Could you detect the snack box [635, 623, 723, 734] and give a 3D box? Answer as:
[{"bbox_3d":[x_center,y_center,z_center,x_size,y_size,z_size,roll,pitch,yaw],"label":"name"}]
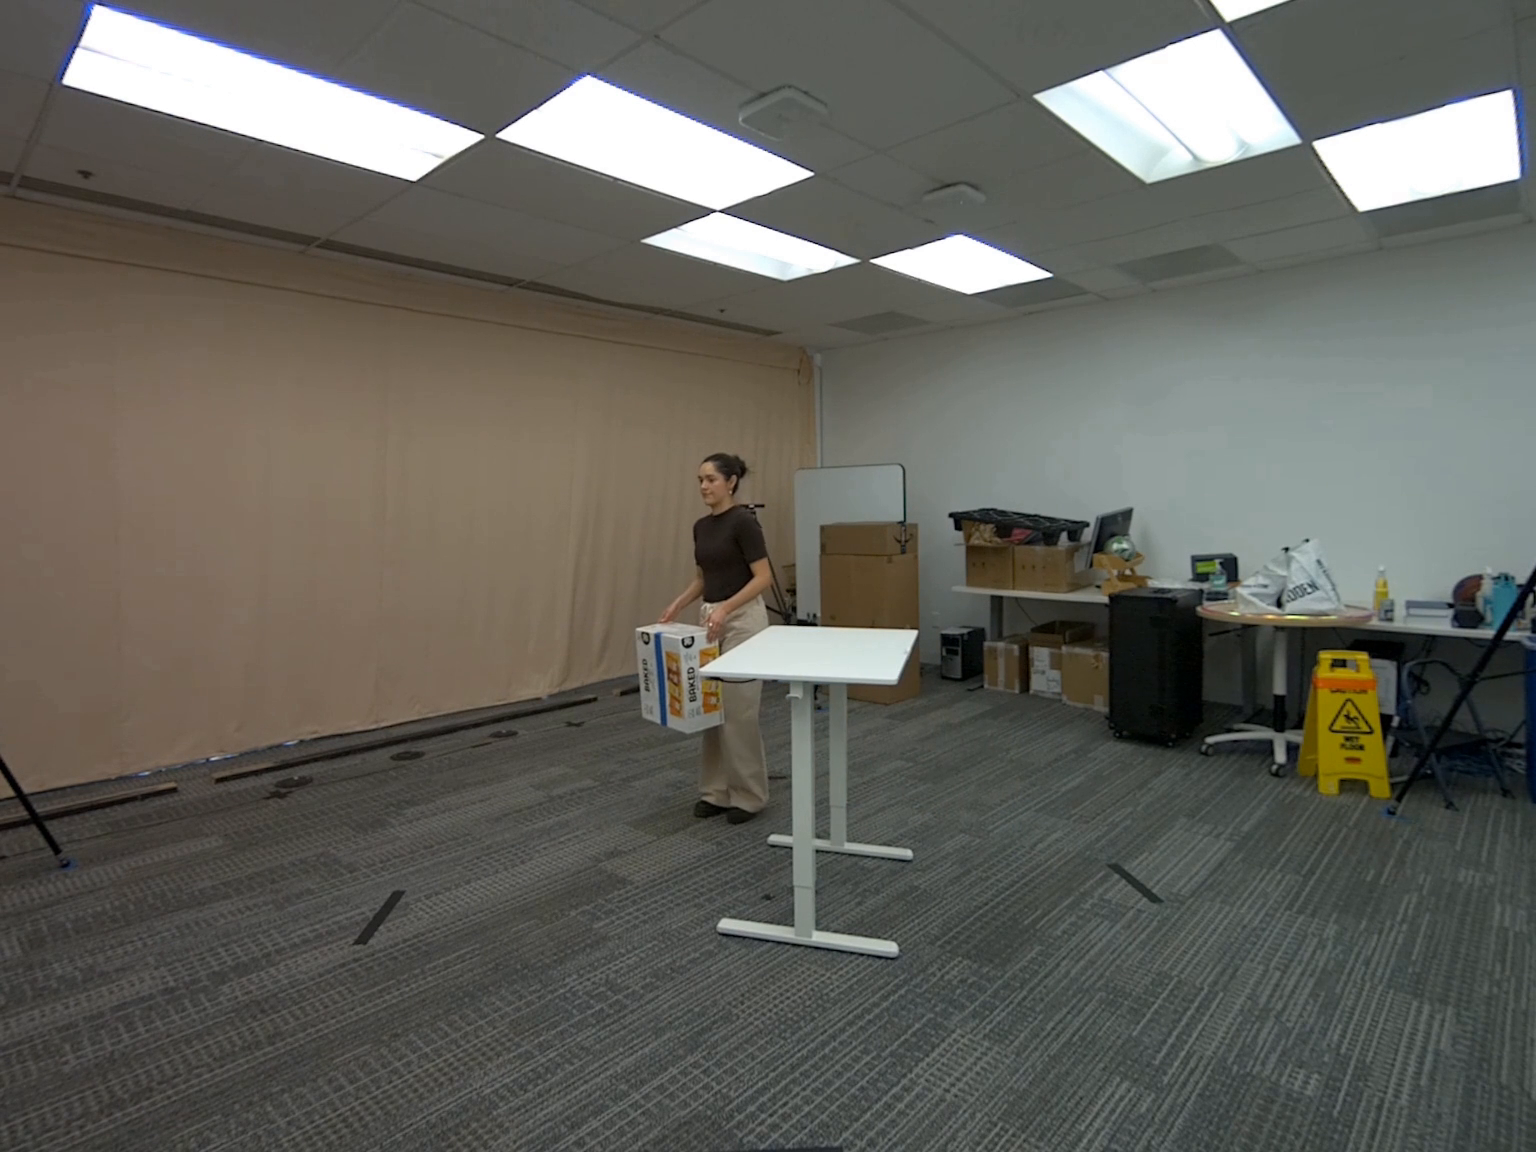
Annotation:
[{"bbox_3d":[-0.382,0.432,3.653,0.200,0.403,0.351,-8,8,-40],"label":"snack box"}]
